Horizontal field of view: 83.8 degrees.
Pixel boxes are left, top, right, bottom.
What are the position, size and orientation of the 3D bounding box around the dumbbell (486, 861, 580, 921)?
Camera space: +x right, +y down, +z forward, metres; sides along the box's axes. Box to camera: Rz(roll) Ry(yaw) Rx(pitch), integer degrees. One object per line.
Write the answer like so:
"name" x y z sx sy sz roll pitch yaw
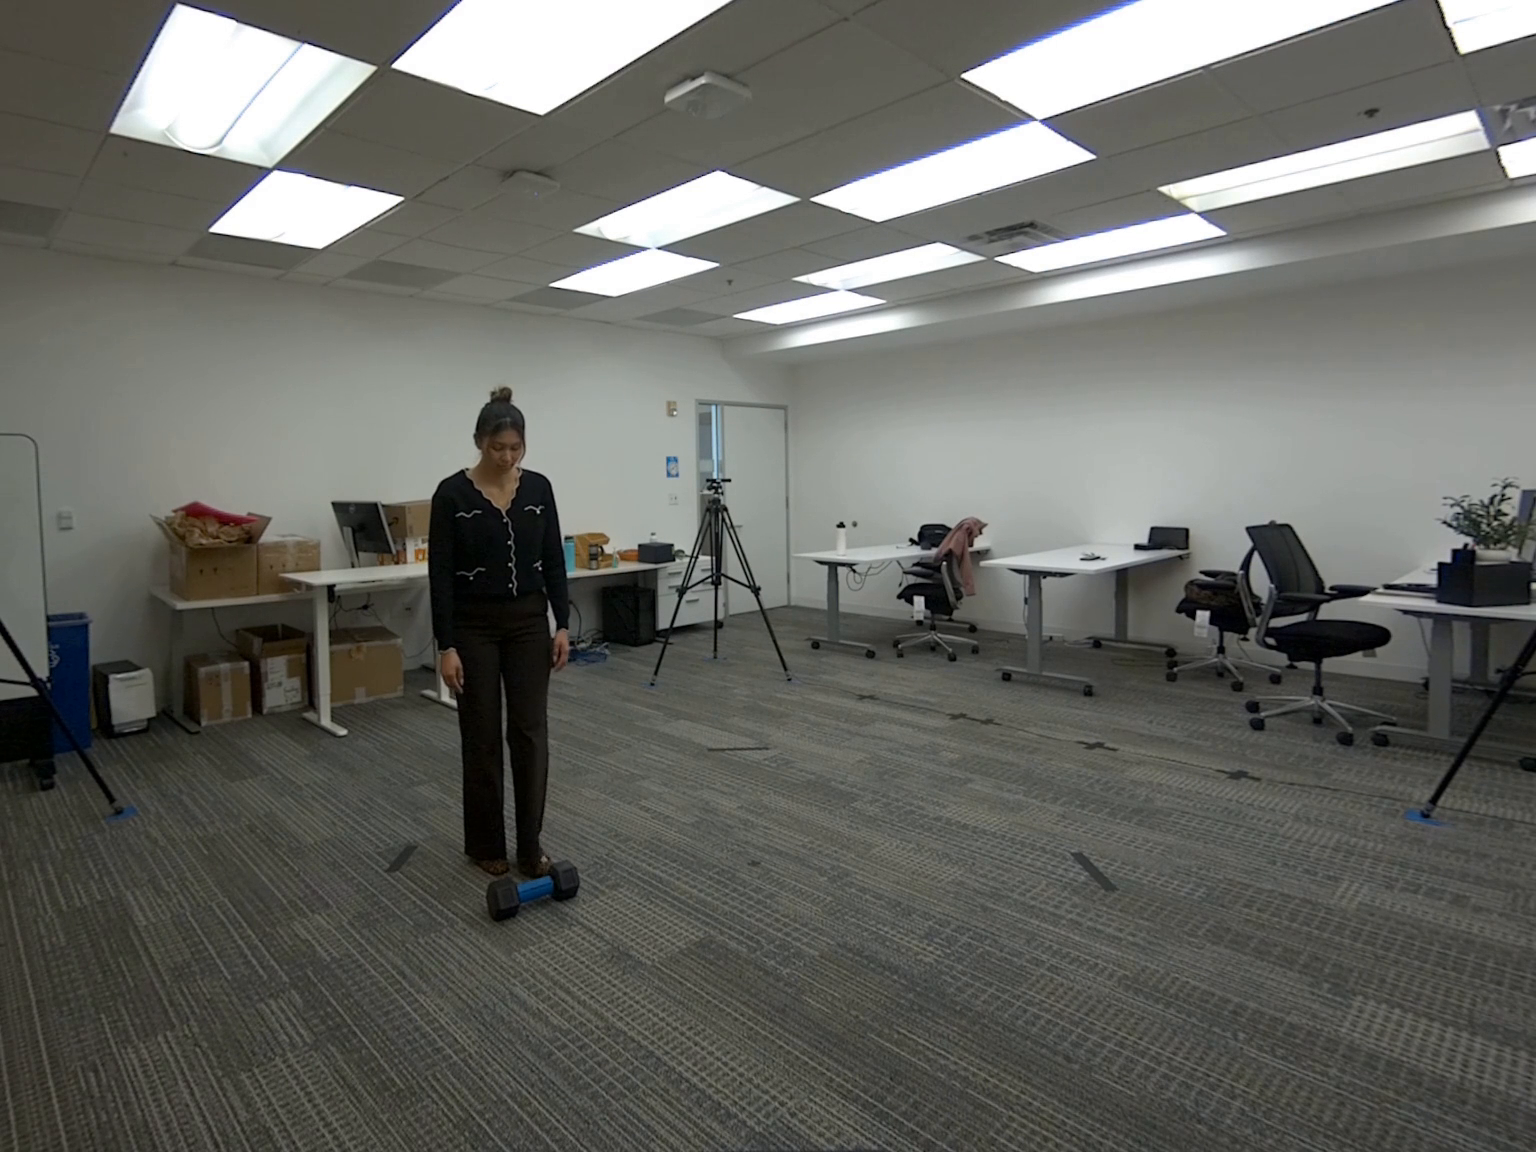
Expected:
"dumbbell" -0.771 1.036 2.823 0.286 0.126 0.109 -6 -24 -36
